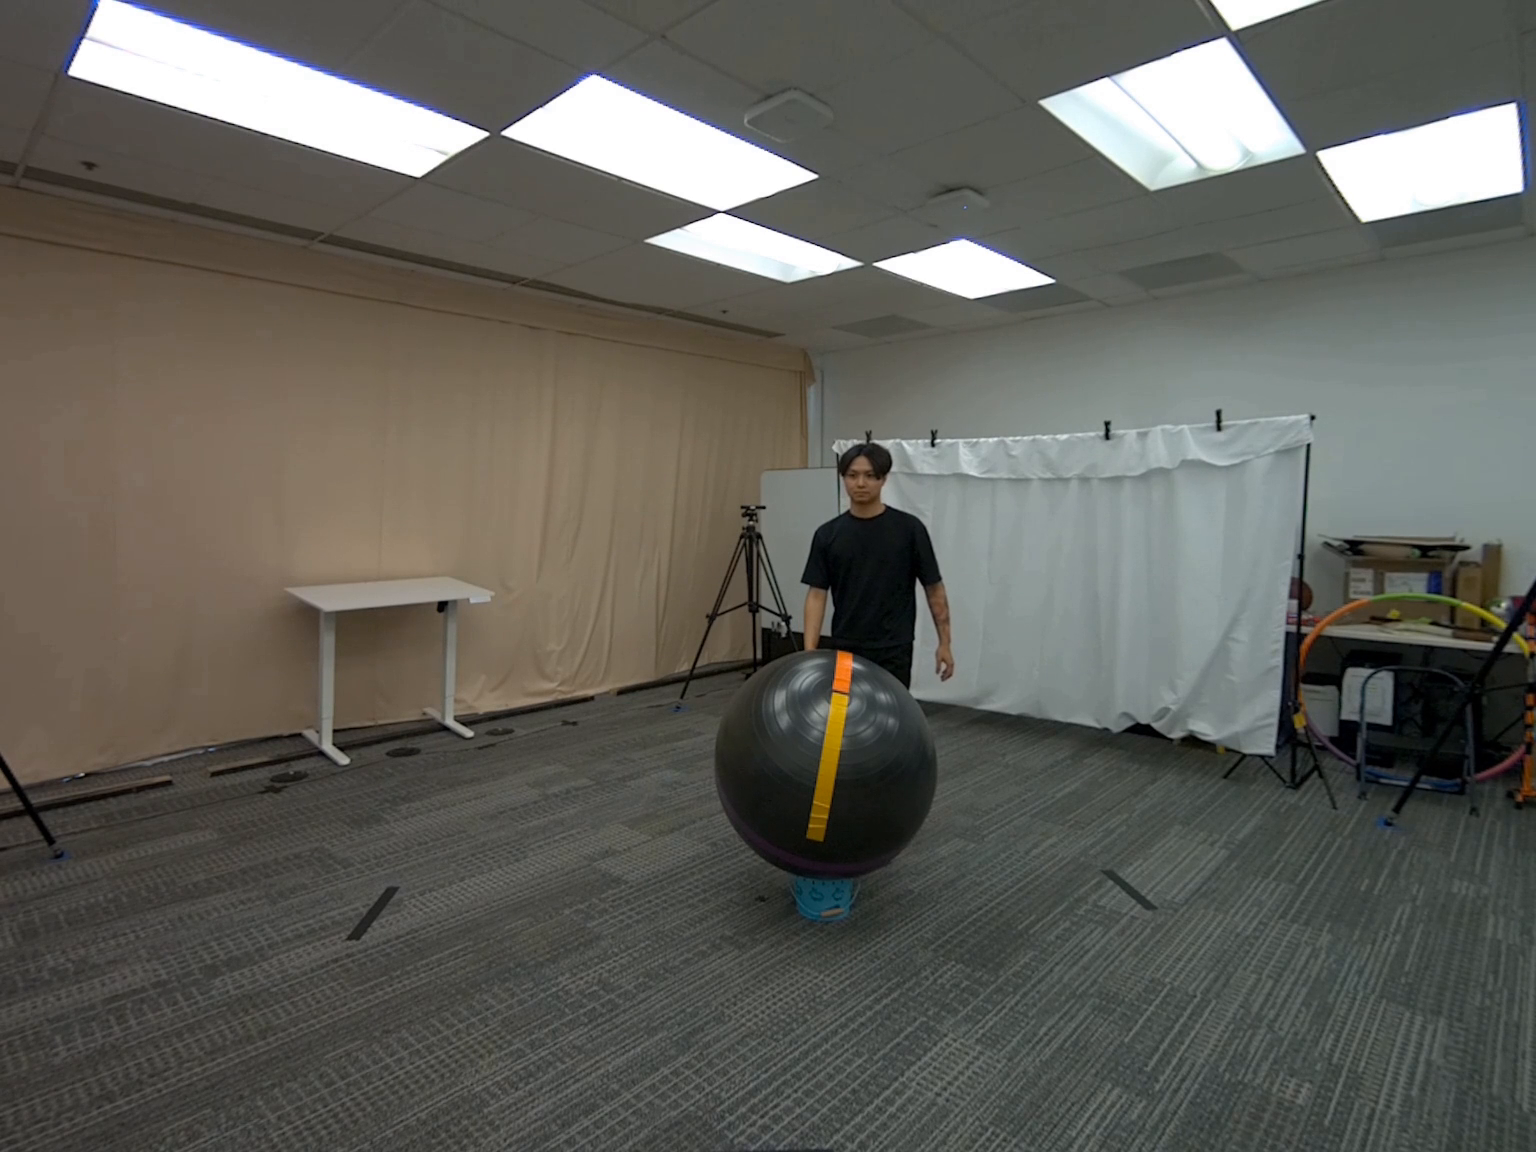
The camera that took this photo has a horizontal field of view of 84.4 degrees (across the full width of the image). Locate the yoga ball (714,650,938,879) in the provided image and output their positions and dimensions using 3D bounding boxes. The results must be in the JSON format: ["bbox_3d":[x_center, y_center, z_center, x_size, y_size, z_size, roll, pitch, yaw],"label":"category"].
[{"bbox_3d":[0.195,0.643,2.887,0.757,0.756,0.760,0,4,-2],"label":"yoga ball"}]
